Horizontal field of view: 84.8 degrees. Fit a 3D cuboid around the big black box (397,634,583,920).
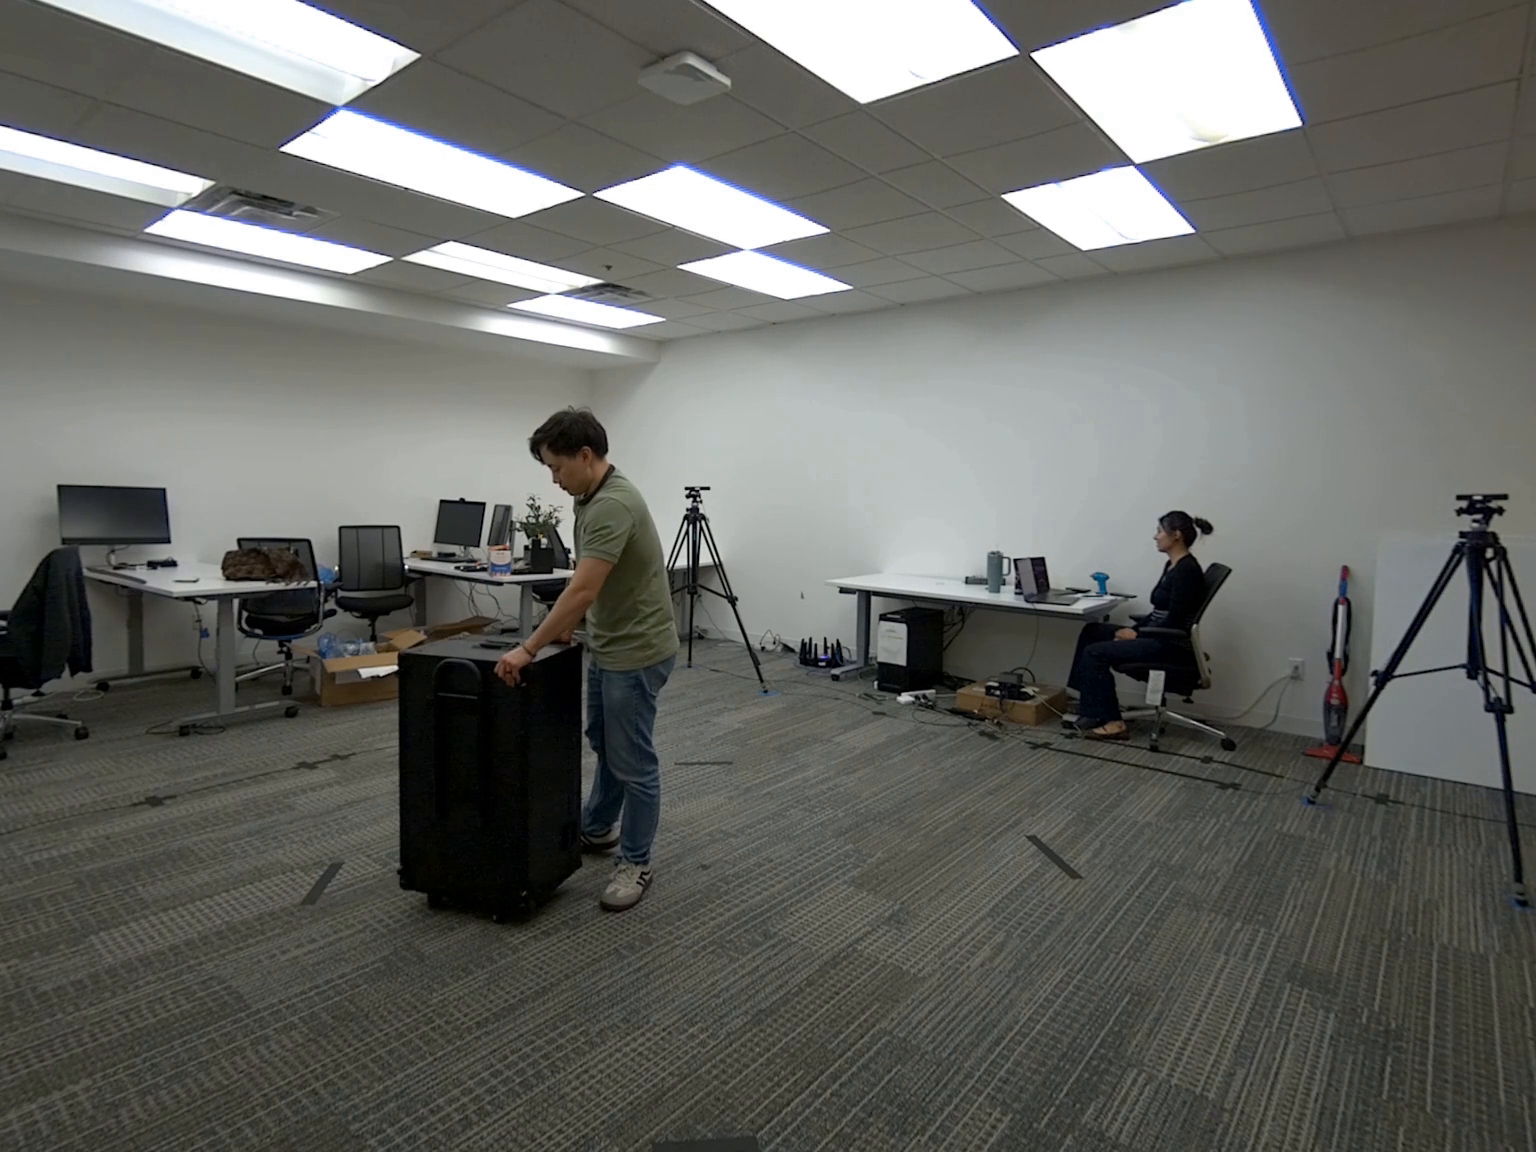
[{"bbox_3d":[-0.937,0.667,2.821,0.531,0.858,0.390,2,5,17],"label":"big black box"}]
